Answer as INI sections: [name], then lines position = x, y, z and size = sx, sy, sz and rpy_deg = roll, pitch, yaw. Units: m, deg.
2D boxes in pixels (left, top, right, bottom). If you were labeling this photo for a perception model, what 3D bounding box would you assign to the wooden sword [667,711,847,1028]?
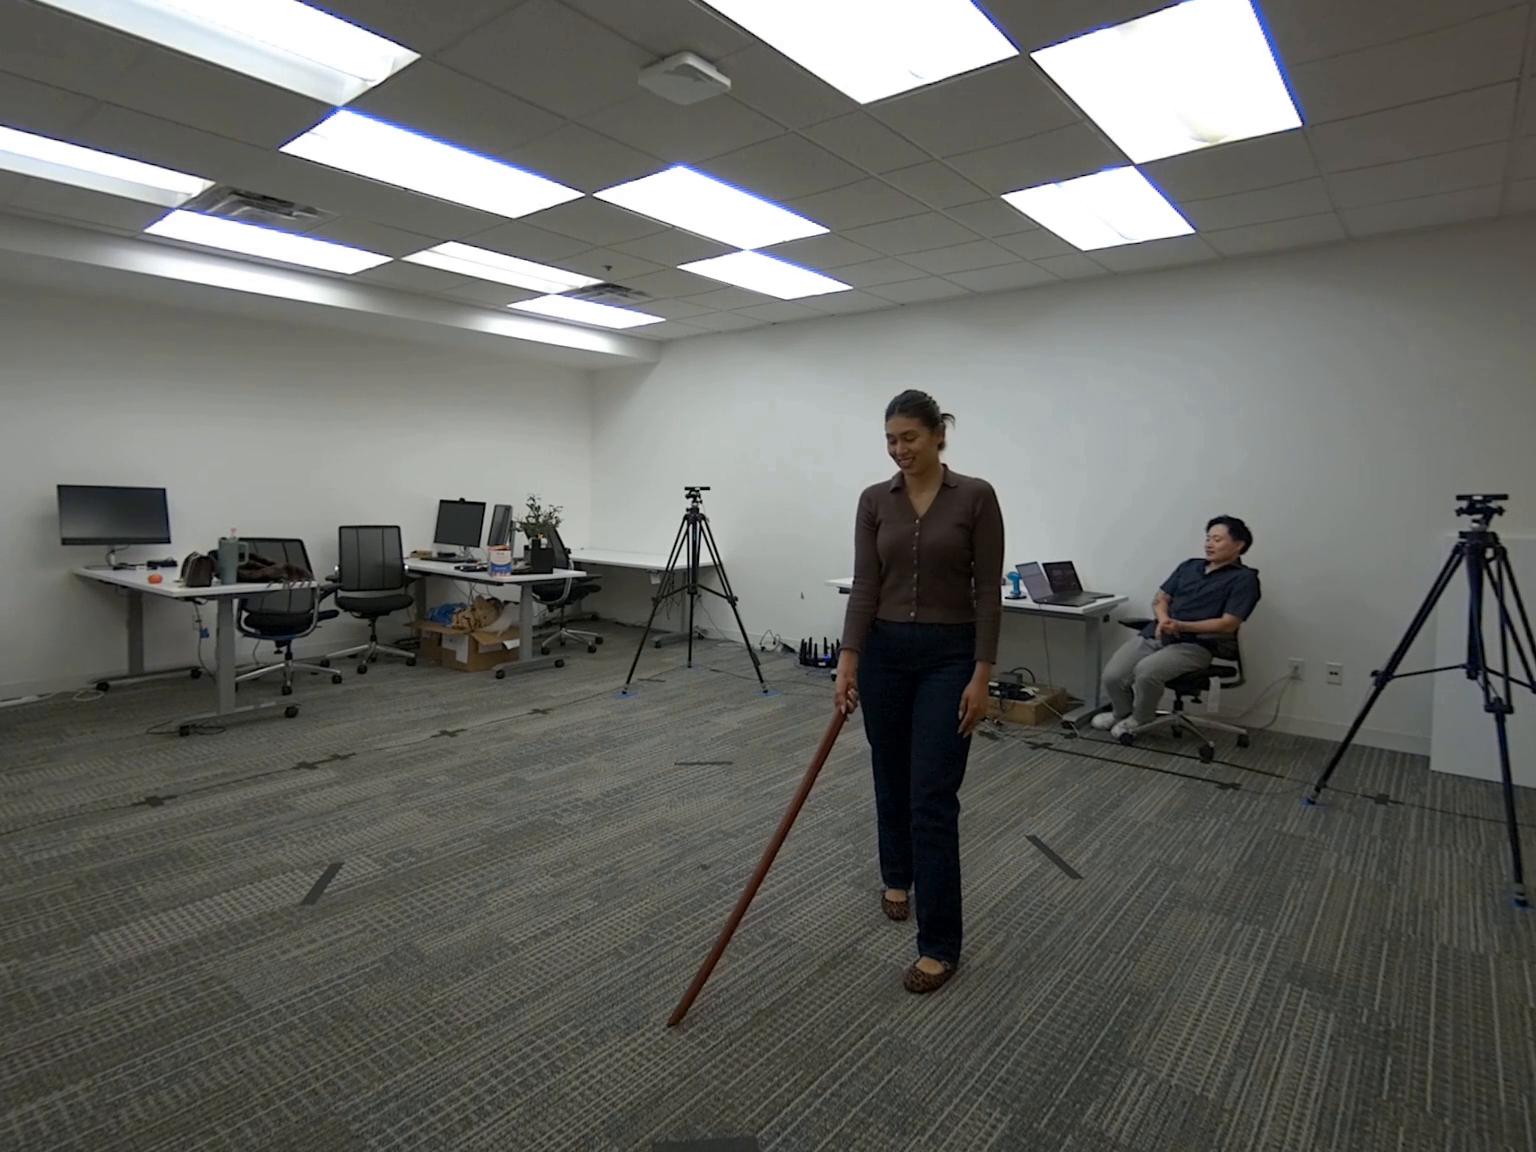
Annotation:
[wooden sword]
position = 0.008, 0.756, 2.374
size = 0.053, 1.030, 0.023
rpy_deg = 18, -25, 30
